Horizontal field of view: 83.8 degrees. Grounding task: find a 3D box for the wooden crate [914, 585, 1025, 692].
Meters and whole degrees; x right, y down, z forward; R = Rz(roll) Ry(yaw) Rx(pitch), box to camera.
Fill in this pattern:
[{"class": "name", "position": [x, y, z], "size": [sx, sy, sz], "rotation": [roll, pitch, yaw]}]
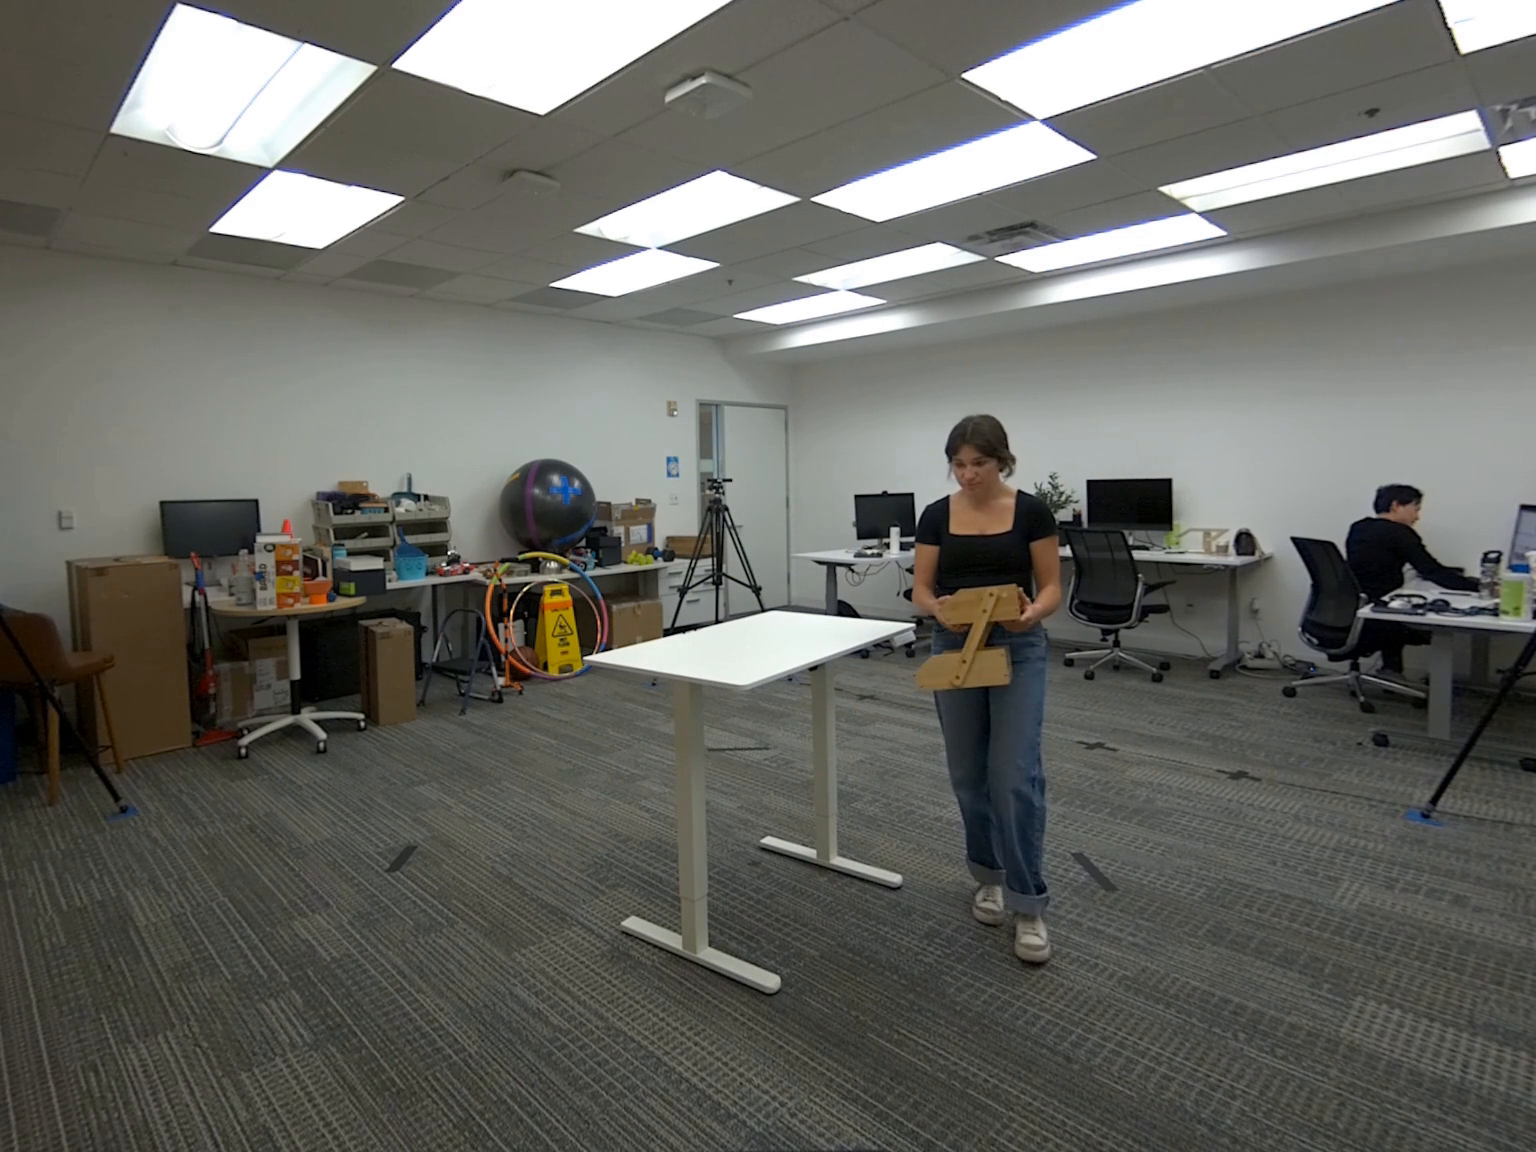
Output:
[{"class": "wooden crate", "position": [0.558, 0.168, 2.439], "size": [0.306, 0.275, 0.319], "rotation": [-7, -5, 14]}]
